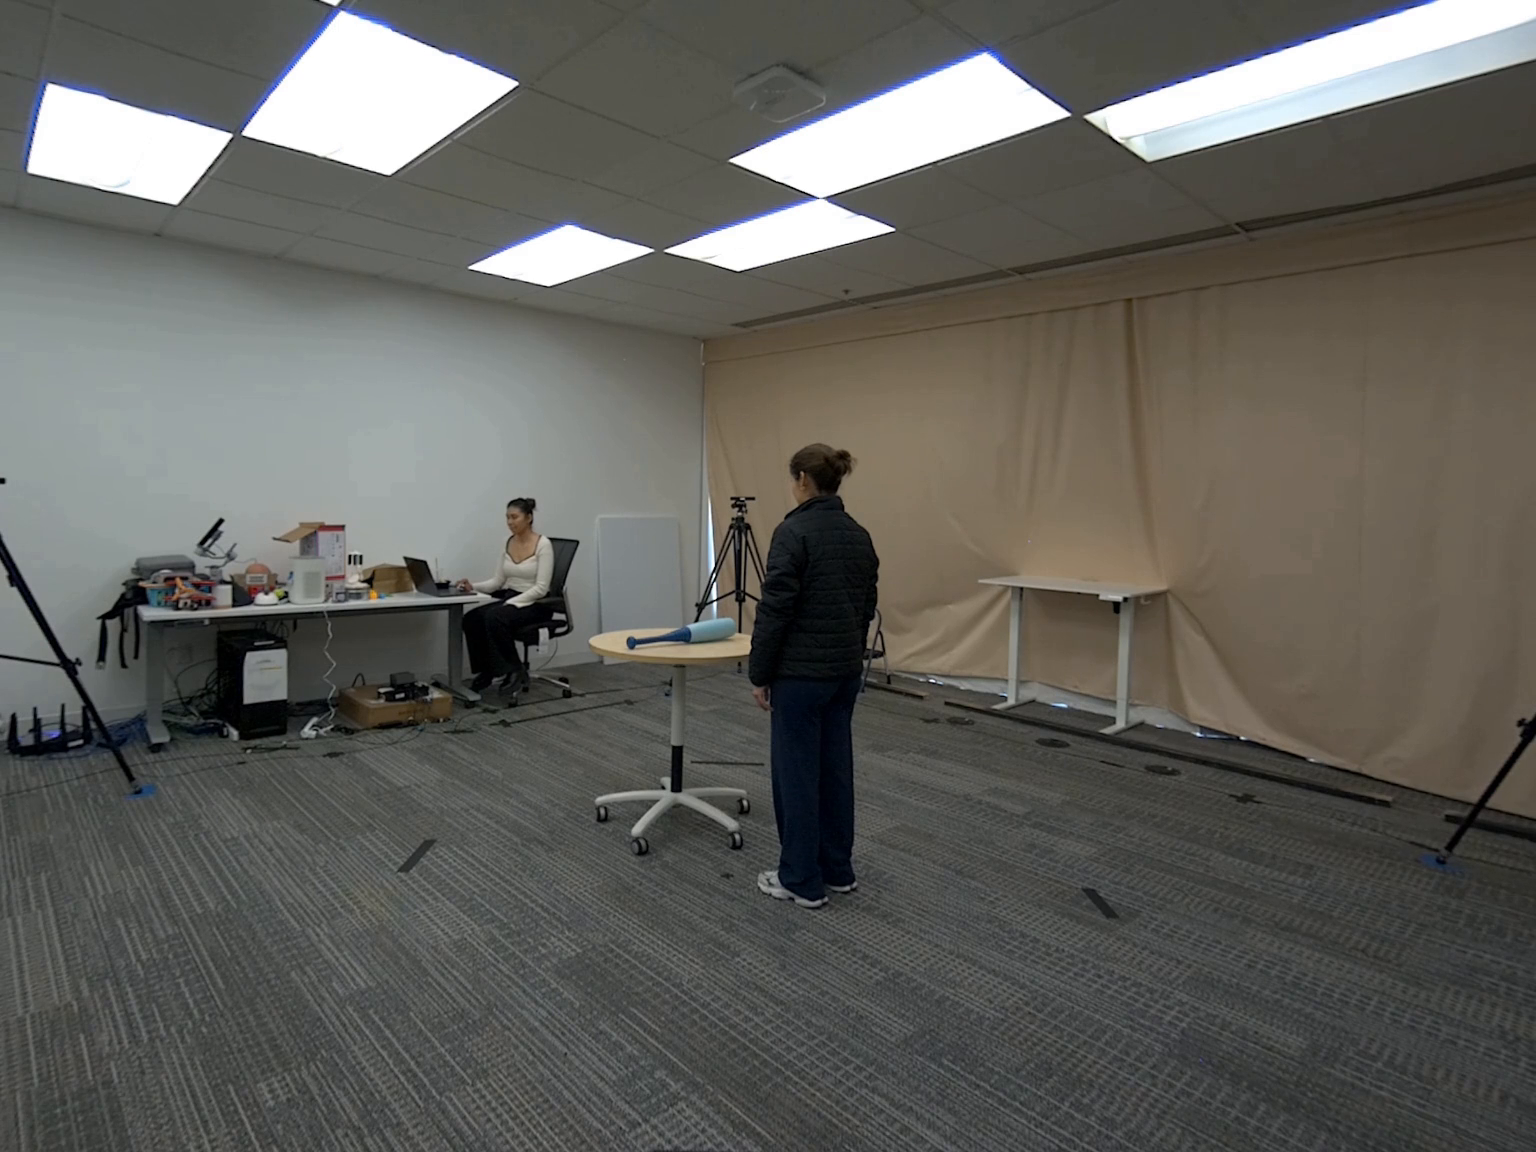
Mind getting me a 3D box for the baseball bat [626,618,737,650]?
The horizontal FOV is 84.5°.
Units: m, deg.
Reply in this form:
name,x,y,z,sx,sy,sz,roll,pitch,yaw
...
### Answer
name,x,y,z,sx,sy,sz,roll,pitch,yaw
baseball bat,-0.358,0.250,3.484,0.531,0.089,0.091,-7,9,-42
